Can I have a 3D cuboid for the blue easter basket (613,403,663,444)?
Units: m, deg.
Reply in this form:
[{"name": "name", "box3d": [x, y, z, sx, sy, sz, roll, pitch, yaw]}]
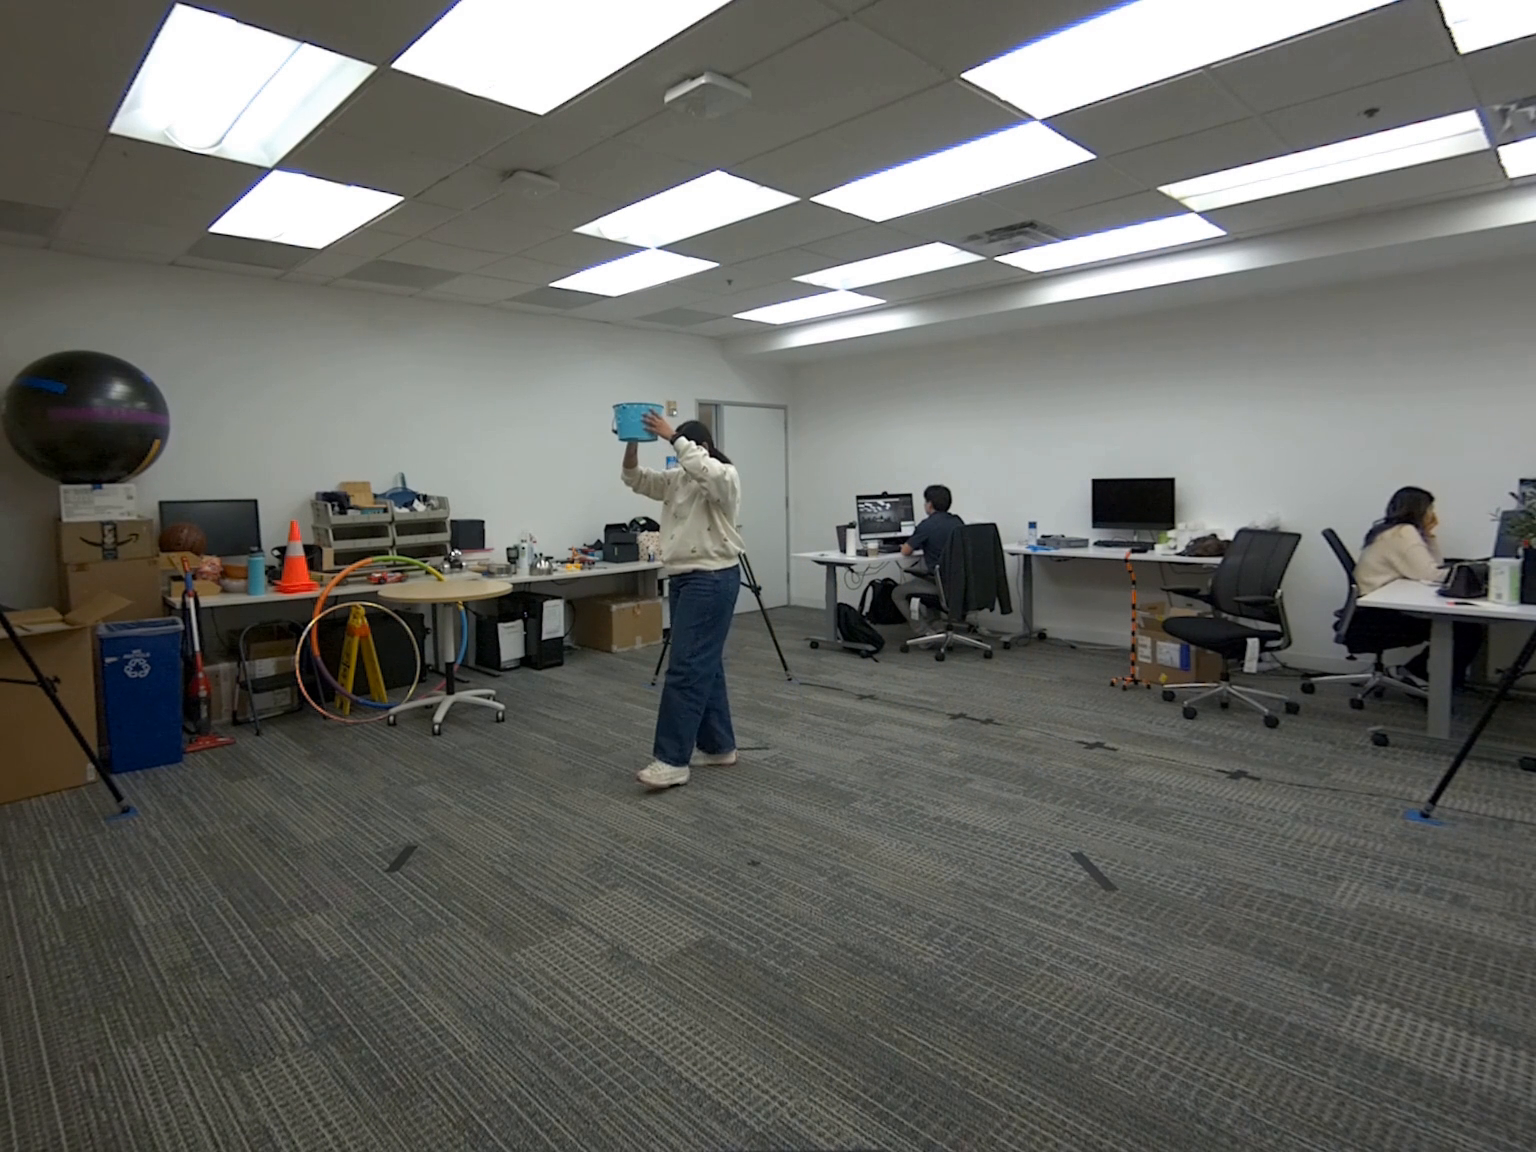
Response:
[{"name": "blue easter basket", "box3d": [-0.597, -0.700, 3.908, 0.243, 0.156, 0.244, -2, 1, -2]}]
